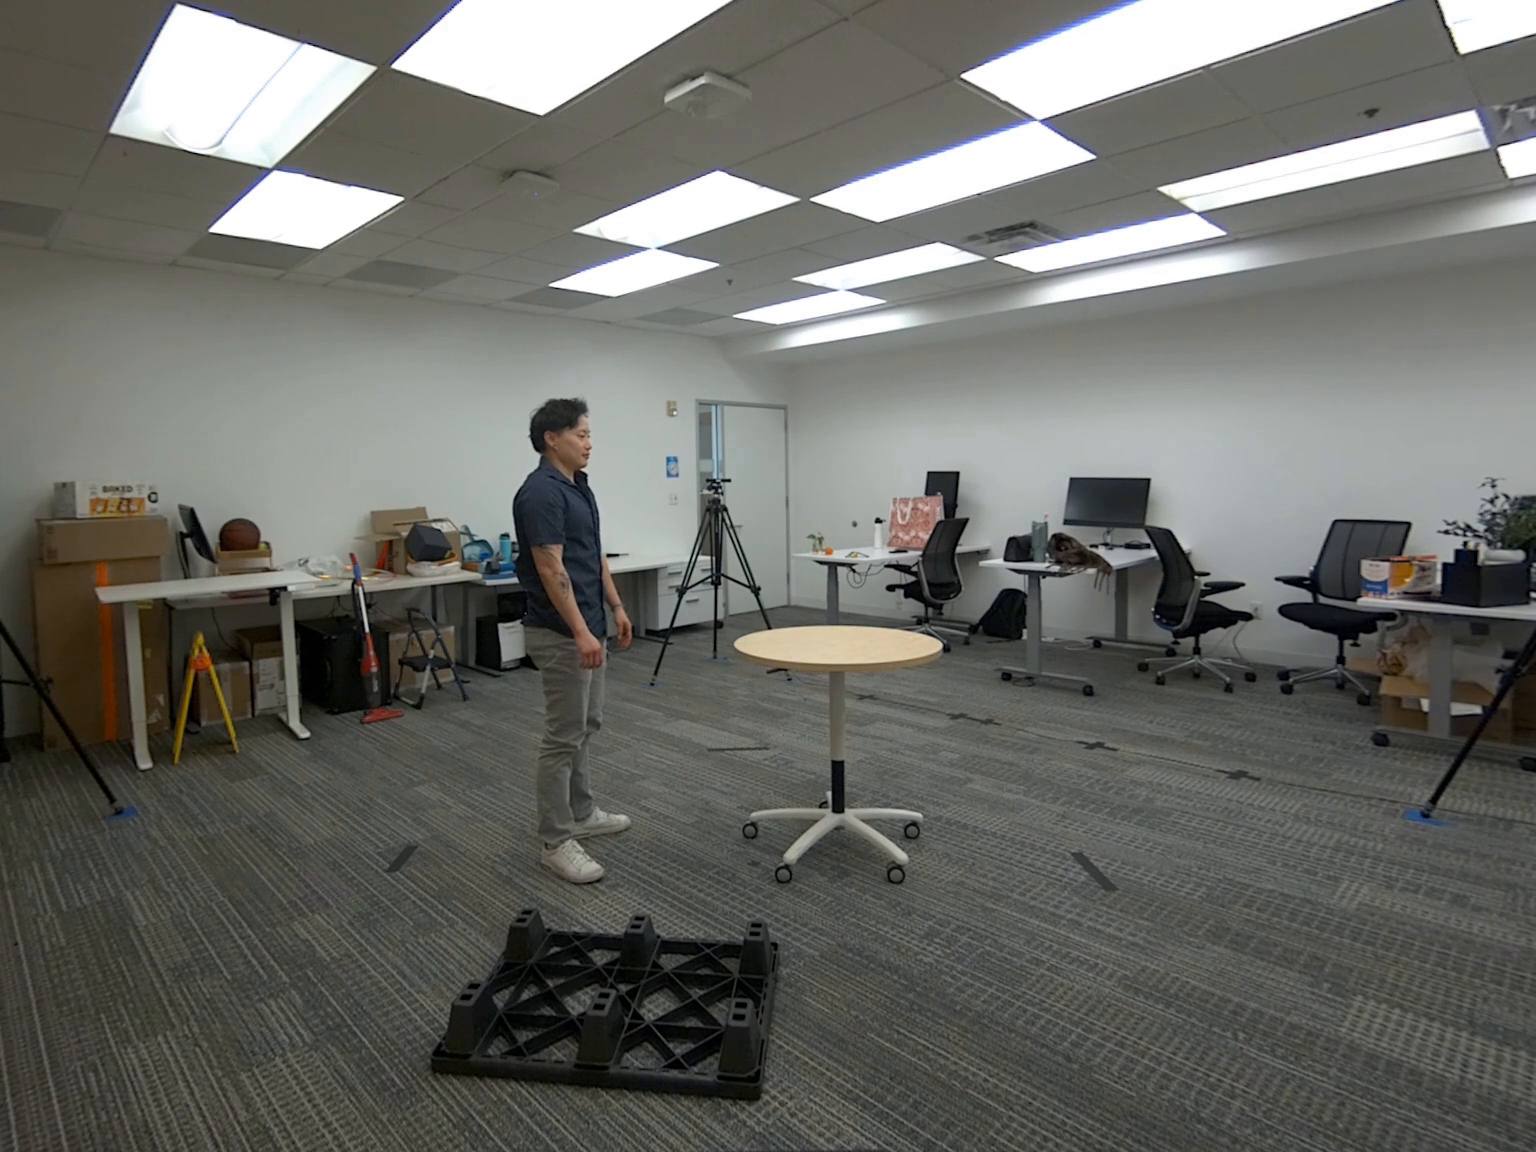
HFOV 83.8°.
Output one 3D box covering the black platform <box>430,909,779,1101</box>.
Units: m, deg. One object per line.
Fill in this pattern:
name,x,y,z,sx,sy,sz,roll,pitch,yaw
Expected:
black platform,-0.385,1.084,2.262,0.811,0.142,0.604,-1,6,7
